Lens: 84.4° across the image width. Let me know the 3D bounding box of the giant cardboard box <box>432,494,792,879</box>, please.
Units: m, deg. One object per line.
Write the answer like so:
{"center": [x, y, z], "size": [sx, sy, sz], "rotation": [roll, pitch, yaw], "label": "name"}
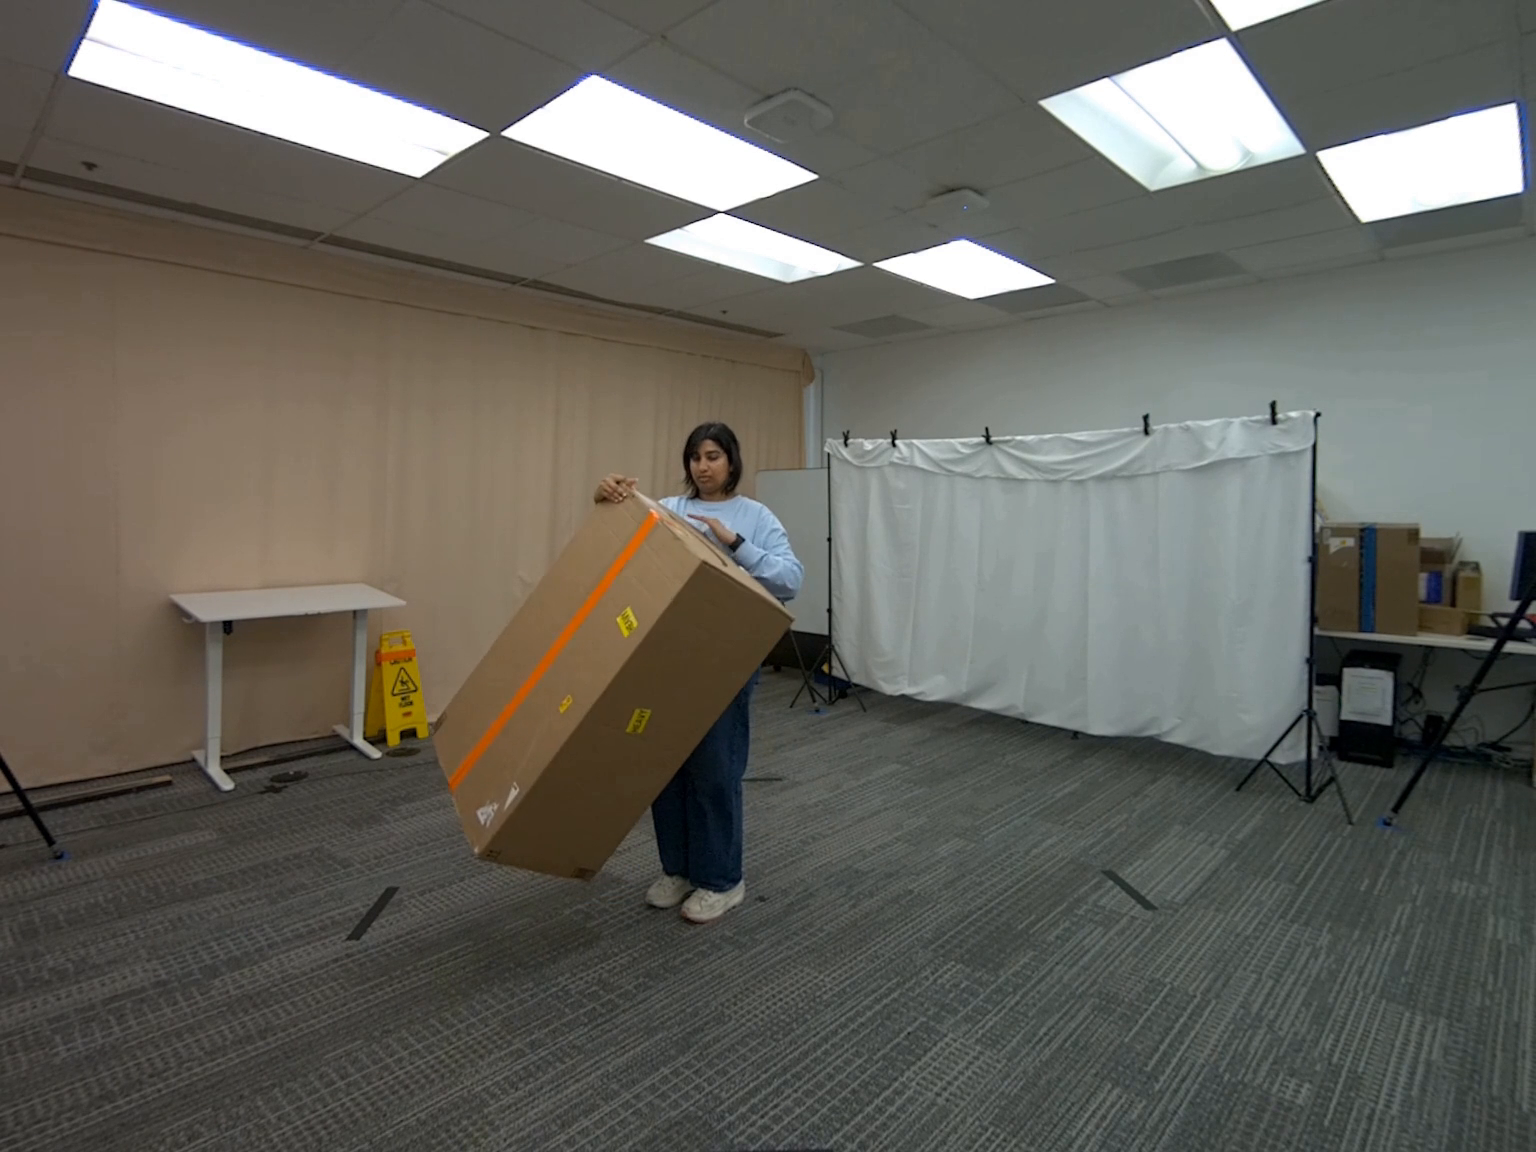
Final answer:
{"center": [-0.500, 0.311, 2.567], "size": [0.431, 1.028, 0.605], "rotation": [32, 7, -41], "label": "giant cardboard box"}
